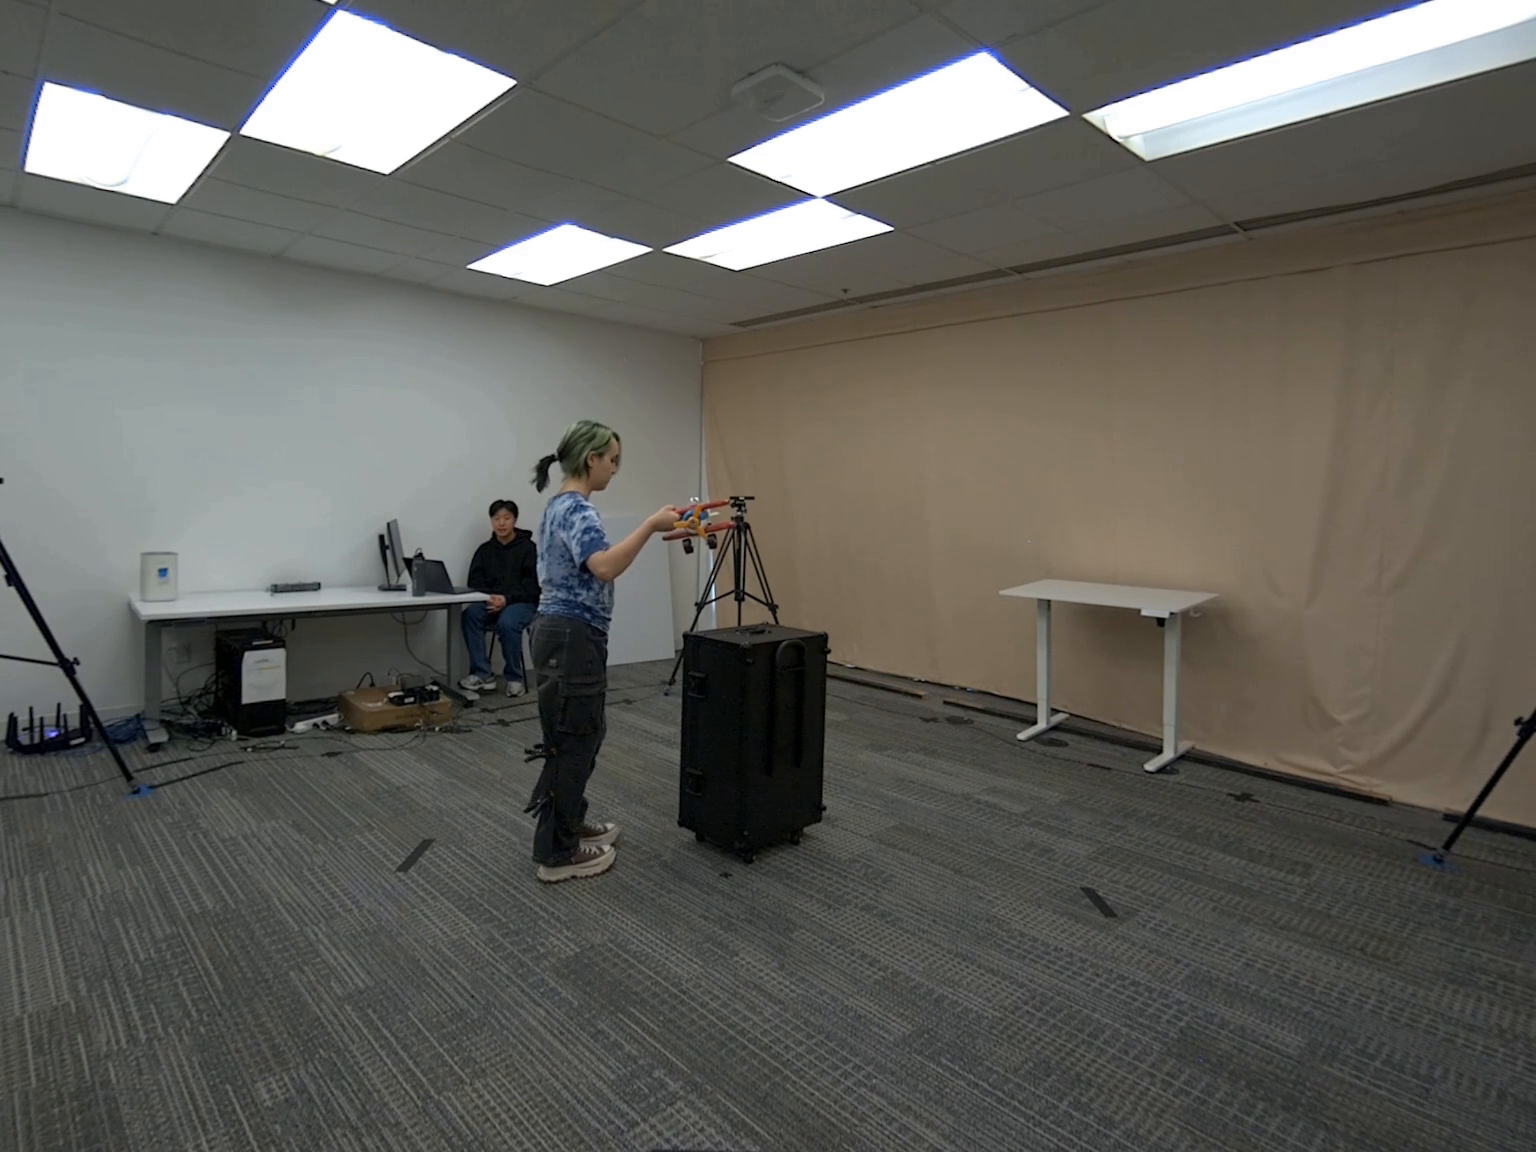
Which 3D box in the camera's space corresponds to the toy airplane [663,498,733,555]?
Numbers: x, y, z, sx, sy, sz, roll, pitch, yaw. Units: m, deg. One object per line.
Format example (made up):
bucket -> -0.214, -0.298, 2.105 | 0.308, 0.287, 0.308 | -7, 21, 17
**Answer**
toy airplane -> -0.268, -0.183, 2.922 | 0.249, 0.153, 0.266 | -23, 24, -20
